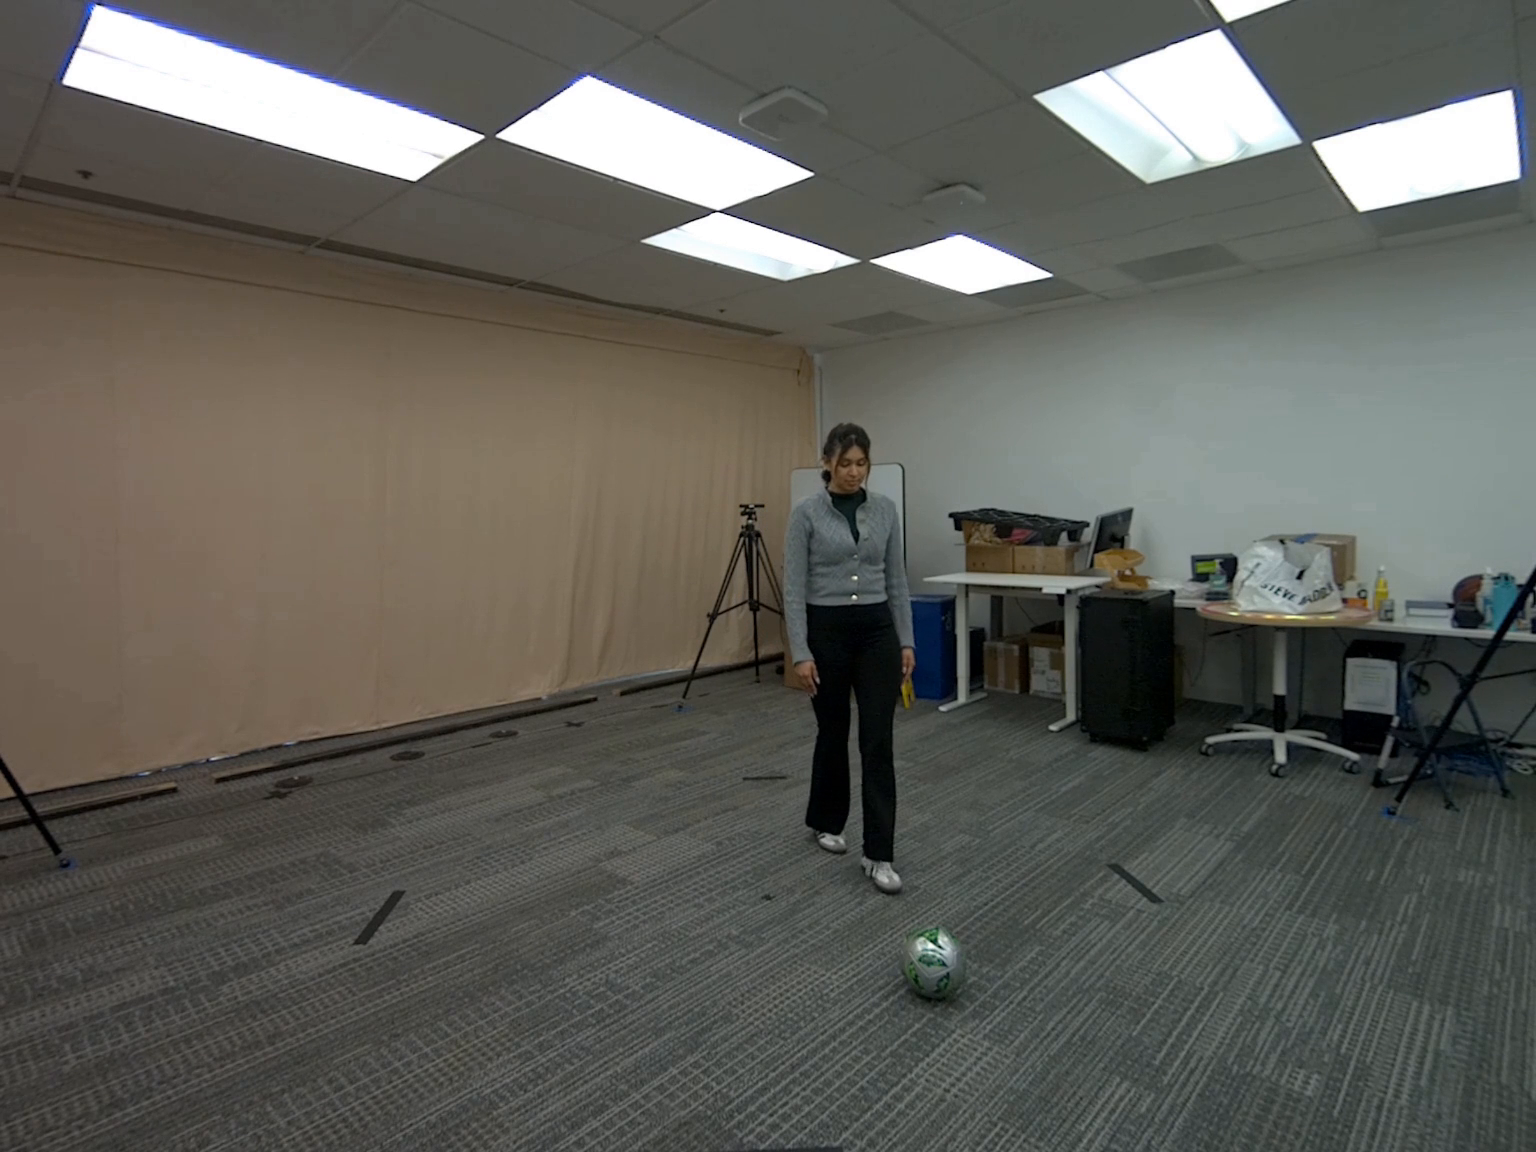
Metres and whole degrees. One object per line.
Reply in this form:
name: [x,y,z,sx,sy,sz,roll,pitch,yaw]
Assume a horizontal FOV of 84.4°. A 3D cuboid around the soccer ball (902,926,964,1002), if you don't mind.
soccer ball: [0.463,1.087,2.389,0.187,0.187,0.188,-1,4,-2]
